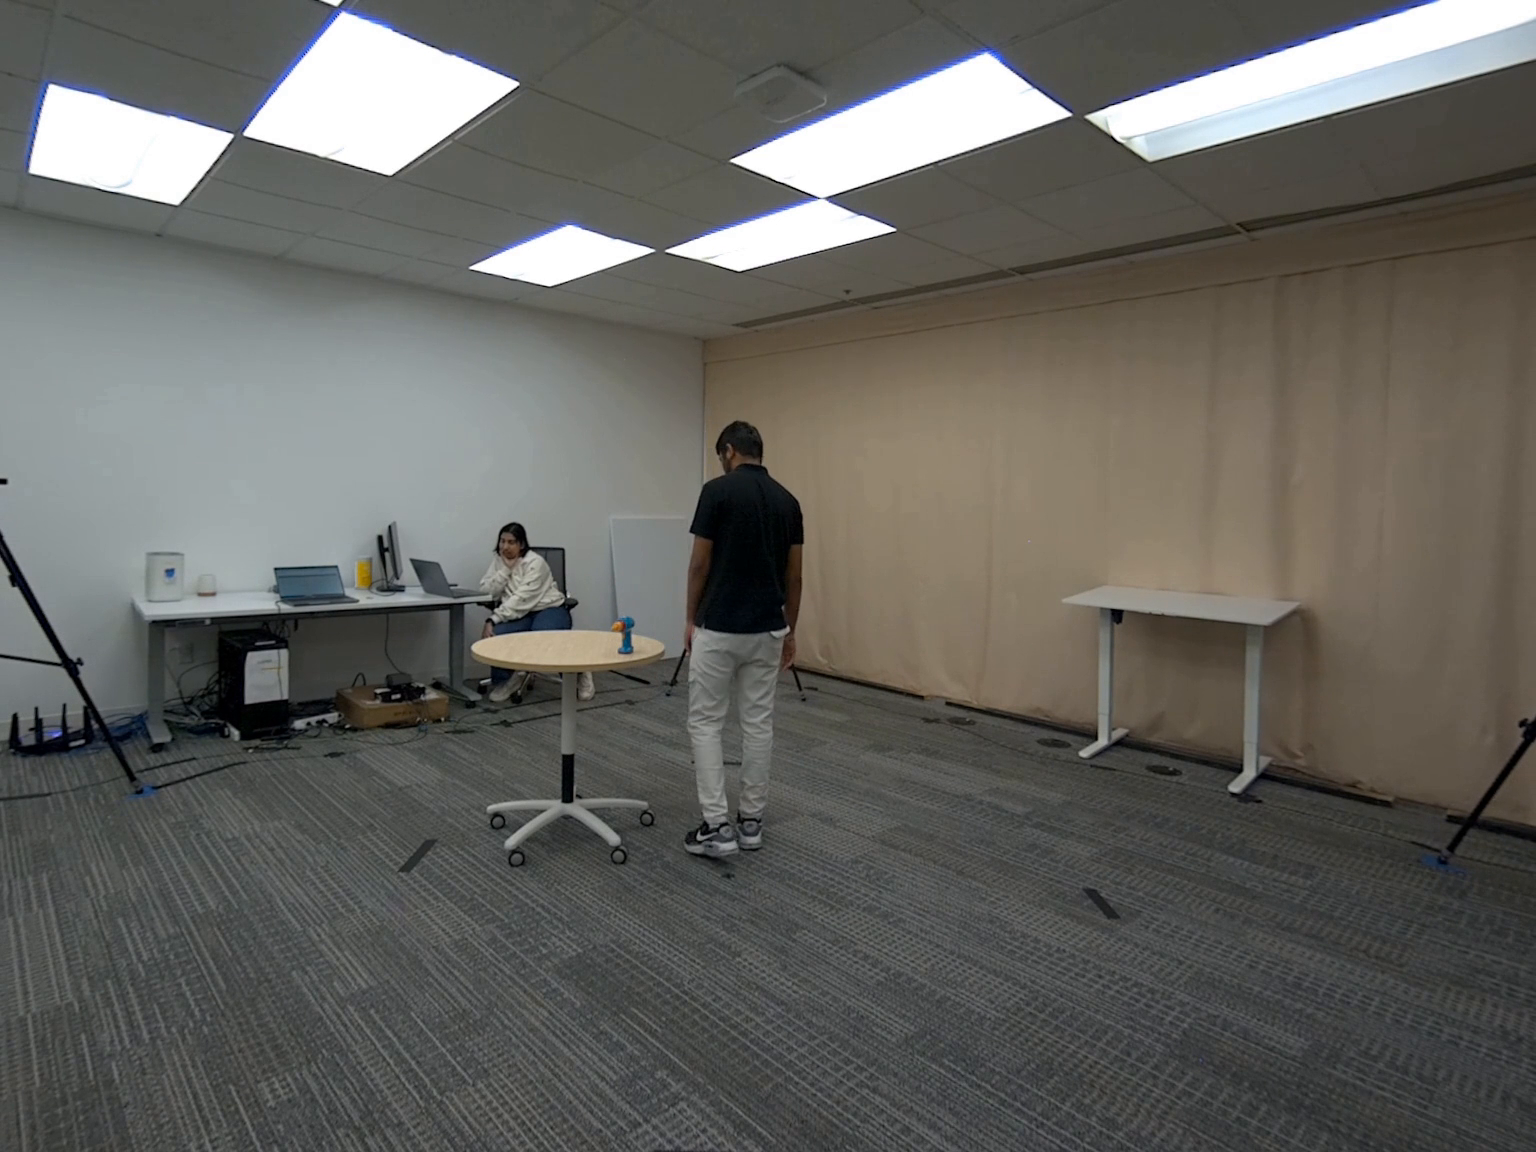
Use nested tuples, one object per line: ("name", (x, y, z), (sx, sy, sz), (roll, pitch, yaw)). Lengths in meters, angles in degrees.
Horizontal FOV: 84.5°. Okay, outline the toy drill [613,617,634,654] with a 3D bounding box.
("toy drill", (-0.568, 0.233, 3.249), (0.062, 0.145, 0.168), (1, 5, 14))
